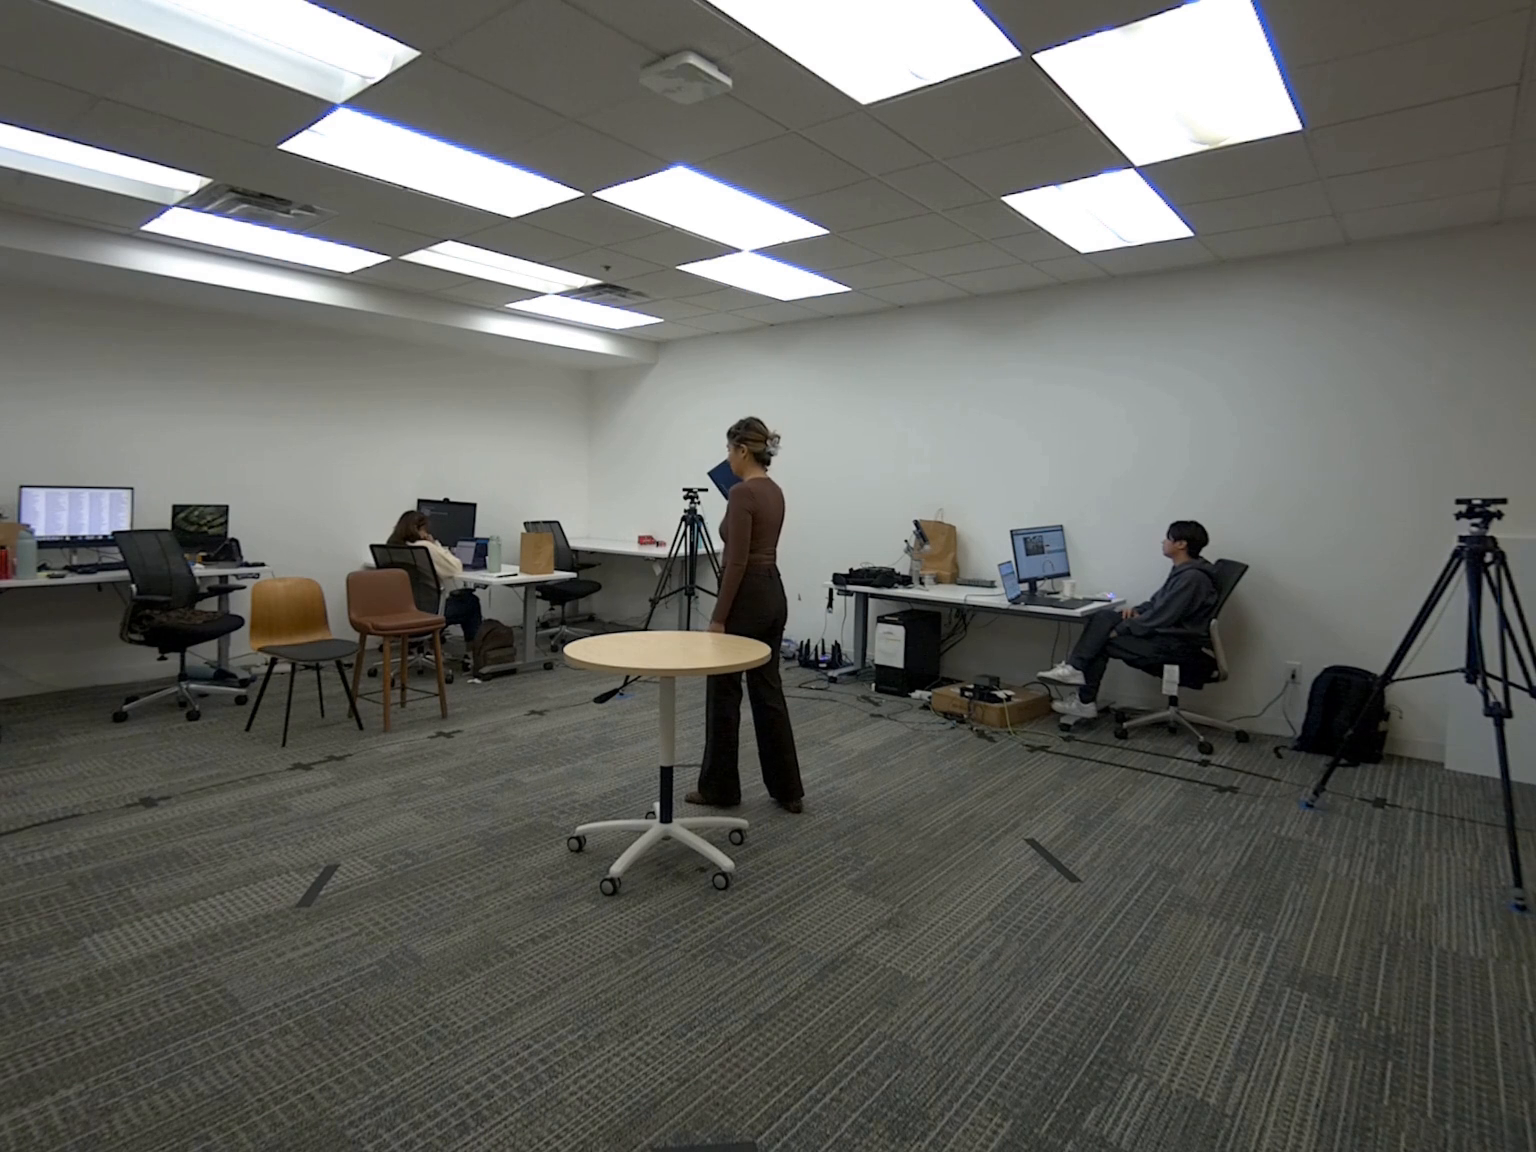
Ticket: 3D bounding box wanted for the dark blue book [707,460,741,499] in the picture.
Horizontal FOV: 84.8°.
[{"bbox_3d":[-0.154,-0.498,4.045,0.245,0.164,0.045,-36,-4,3],"label":"dark blue book"}]
